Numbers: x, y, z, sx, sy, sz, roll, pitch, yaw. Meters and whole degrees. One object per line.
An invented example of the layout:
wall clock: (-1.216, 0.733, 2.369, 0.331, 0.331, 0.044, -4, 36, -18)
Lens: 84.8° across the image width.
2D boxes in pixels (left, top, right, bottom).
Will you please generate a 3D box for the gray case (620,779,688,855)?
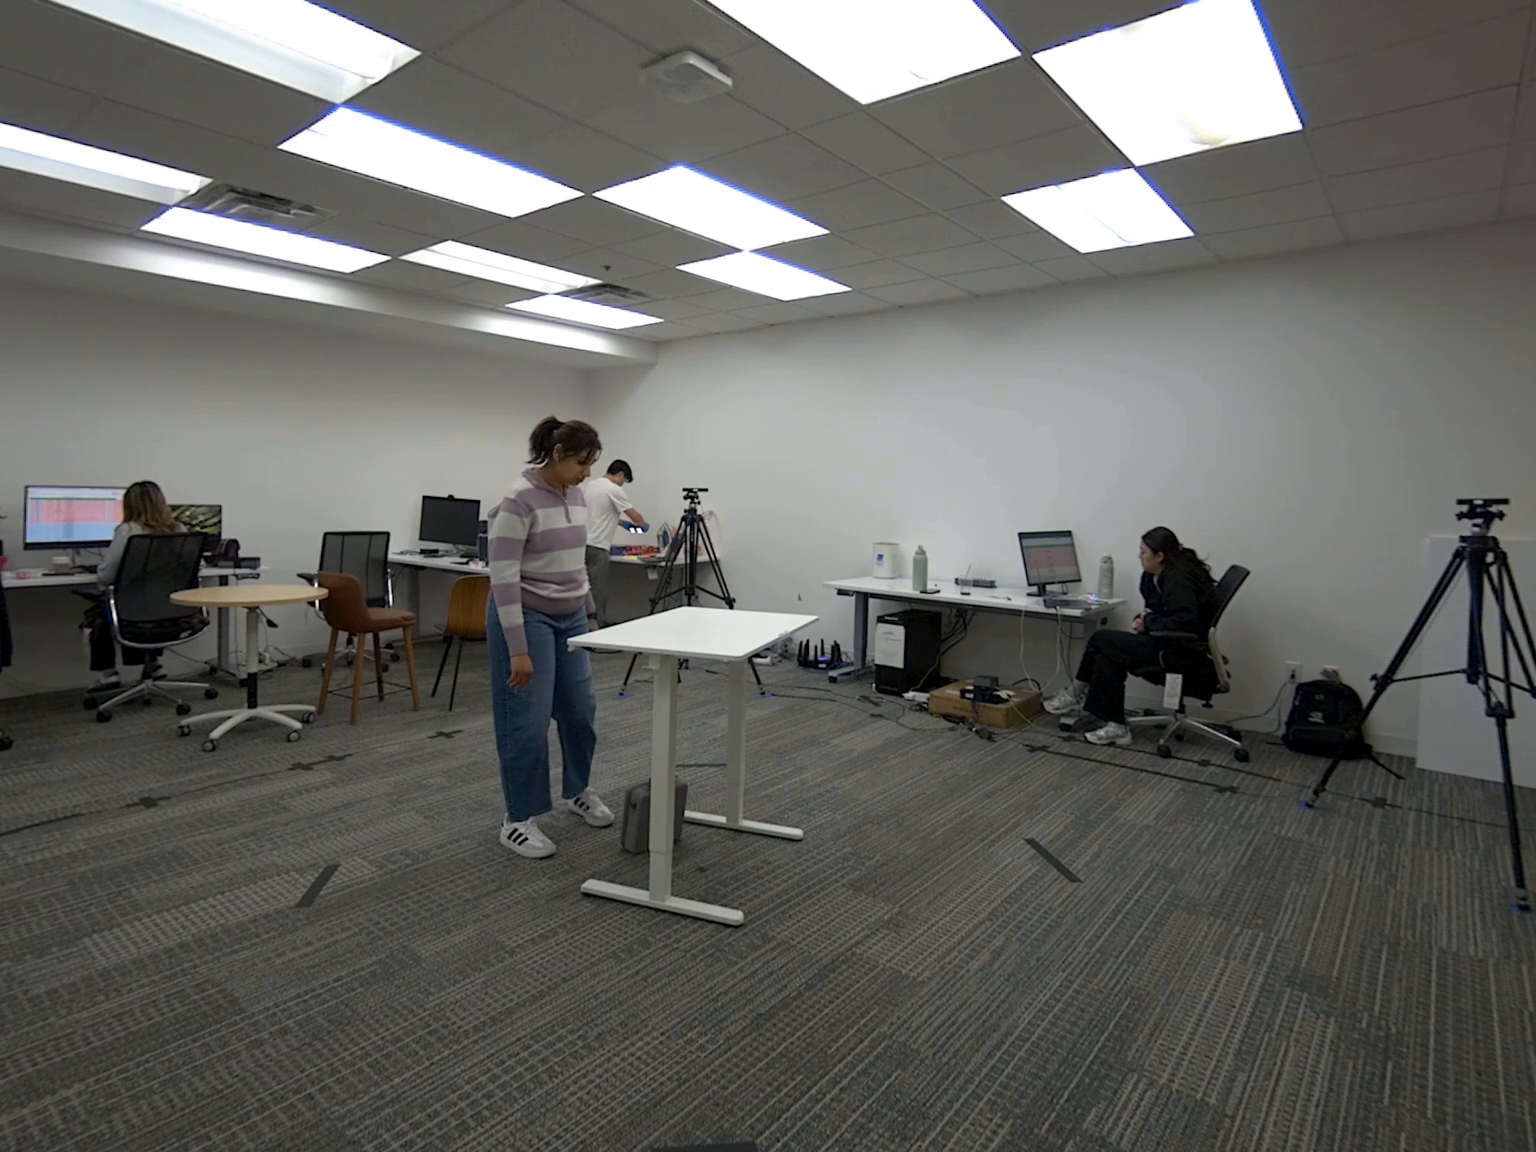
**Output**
gray case: (-0.450, 0.917, 3.310, 0.249, 0.259, 0.108, -2, 12, -44)
